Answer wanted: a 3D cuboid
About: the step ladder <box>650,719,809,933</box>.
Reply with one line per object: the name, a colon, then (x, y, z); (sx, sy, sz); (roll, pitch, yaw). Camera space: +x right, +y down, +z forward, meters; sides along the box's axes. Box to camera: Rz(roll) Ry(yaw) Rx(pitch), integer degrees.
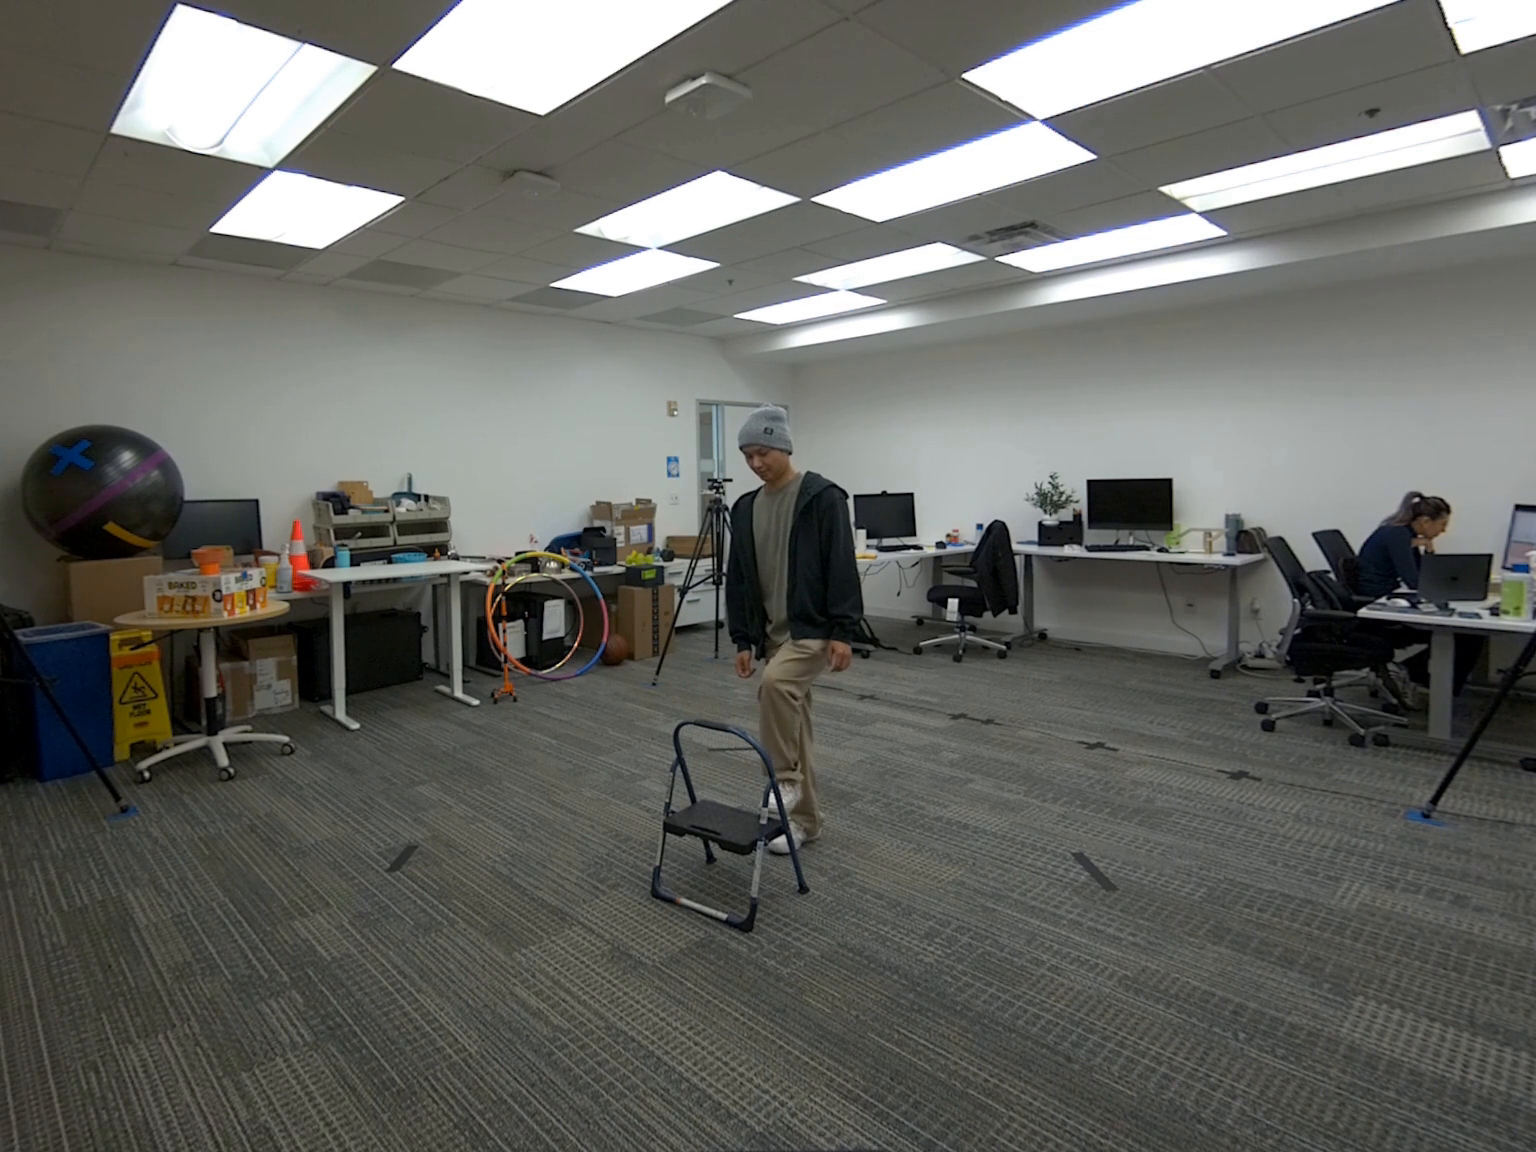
step ladder: (-0.135, 0.770, 2.866); (0.443, 0.604, 0.341); (2, 5, 35)
